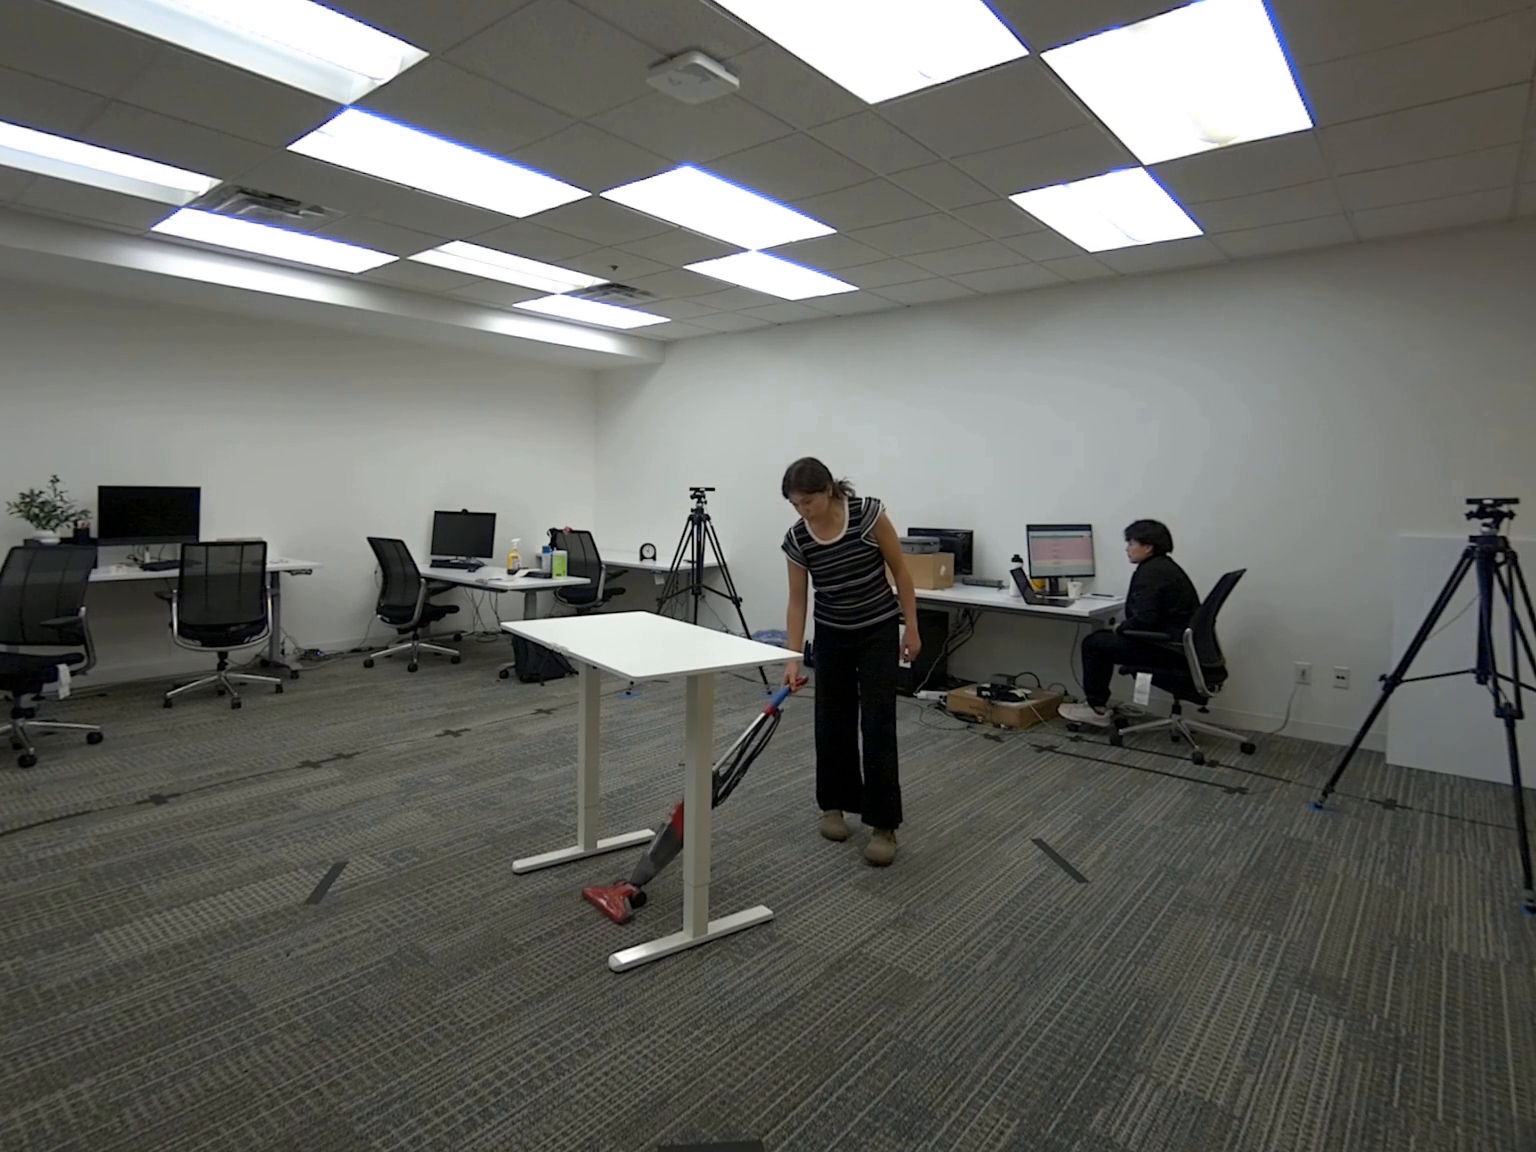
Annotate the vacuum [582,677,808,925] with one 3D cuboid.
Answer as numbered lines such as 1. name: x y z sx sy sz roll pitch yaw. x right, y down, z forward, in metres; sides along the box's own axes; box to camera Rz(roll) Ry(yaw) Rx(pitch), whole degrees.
1. vacuum: -0.196 0.752 3.057 0.262 0.139 1.046 13 48 45
